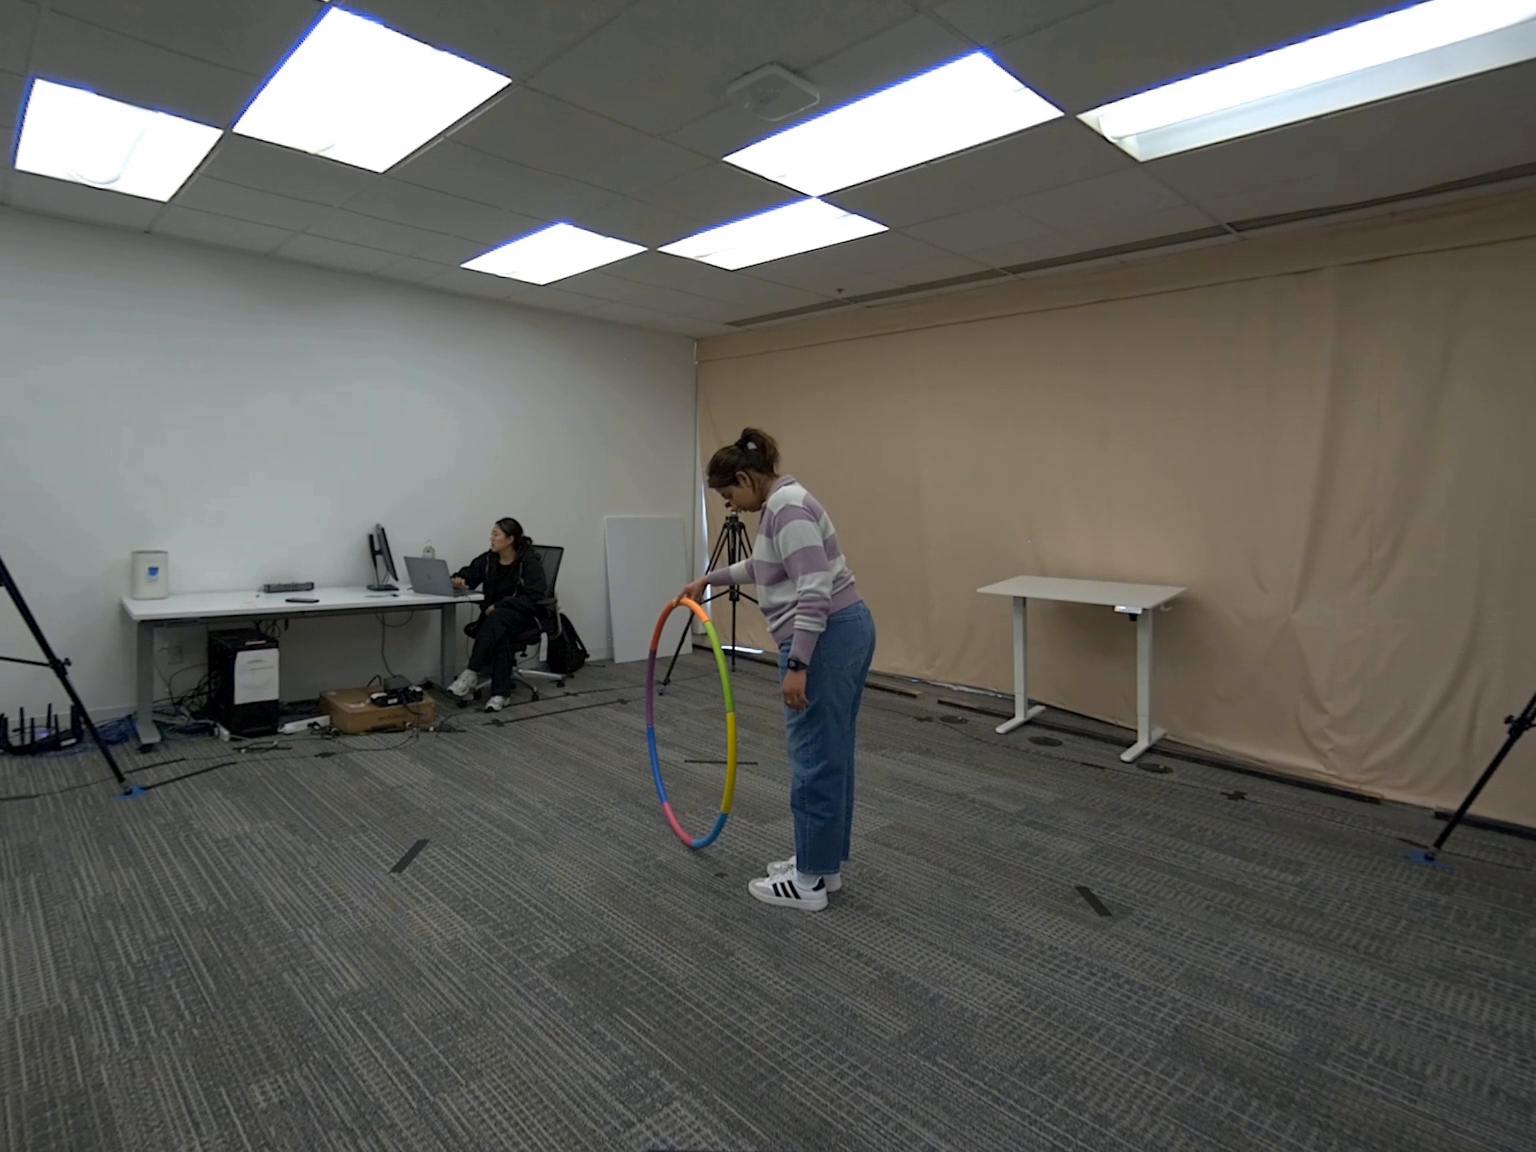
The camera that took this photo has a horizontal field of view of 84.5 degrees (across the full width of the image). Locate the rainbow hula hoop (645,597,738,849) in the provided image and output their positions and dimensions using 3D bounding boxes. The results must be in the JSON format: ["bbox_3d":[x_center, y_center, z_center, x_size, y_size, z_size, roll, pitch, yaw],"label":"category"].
[{"bbox_3d":[-0.341,0.584,3.403,0.035,0.976,0.998,0,4,-25],"label":"rainbow hula hoop"}]
